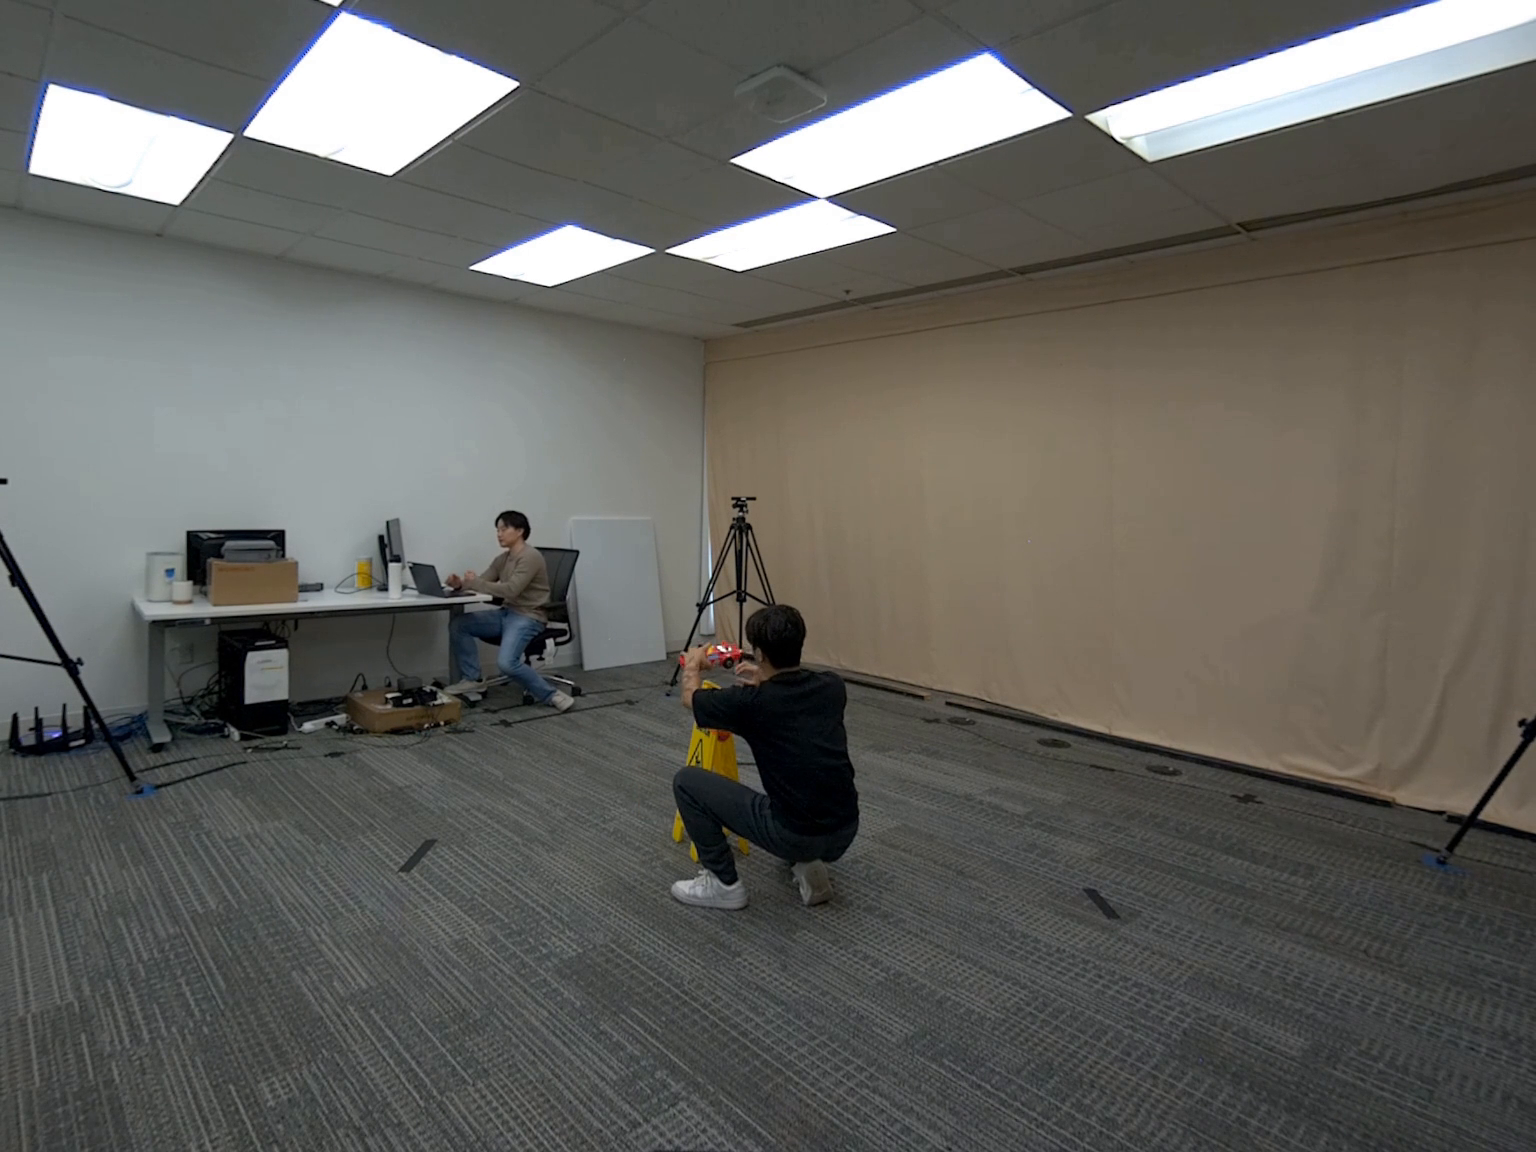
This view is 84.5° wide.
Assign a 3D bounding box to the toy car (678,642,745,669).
[{"bbox_3d":[-0.234,0.338,3.349,0.252,0.081,0.134,-22,26,-21],"label":"toy car"}]
